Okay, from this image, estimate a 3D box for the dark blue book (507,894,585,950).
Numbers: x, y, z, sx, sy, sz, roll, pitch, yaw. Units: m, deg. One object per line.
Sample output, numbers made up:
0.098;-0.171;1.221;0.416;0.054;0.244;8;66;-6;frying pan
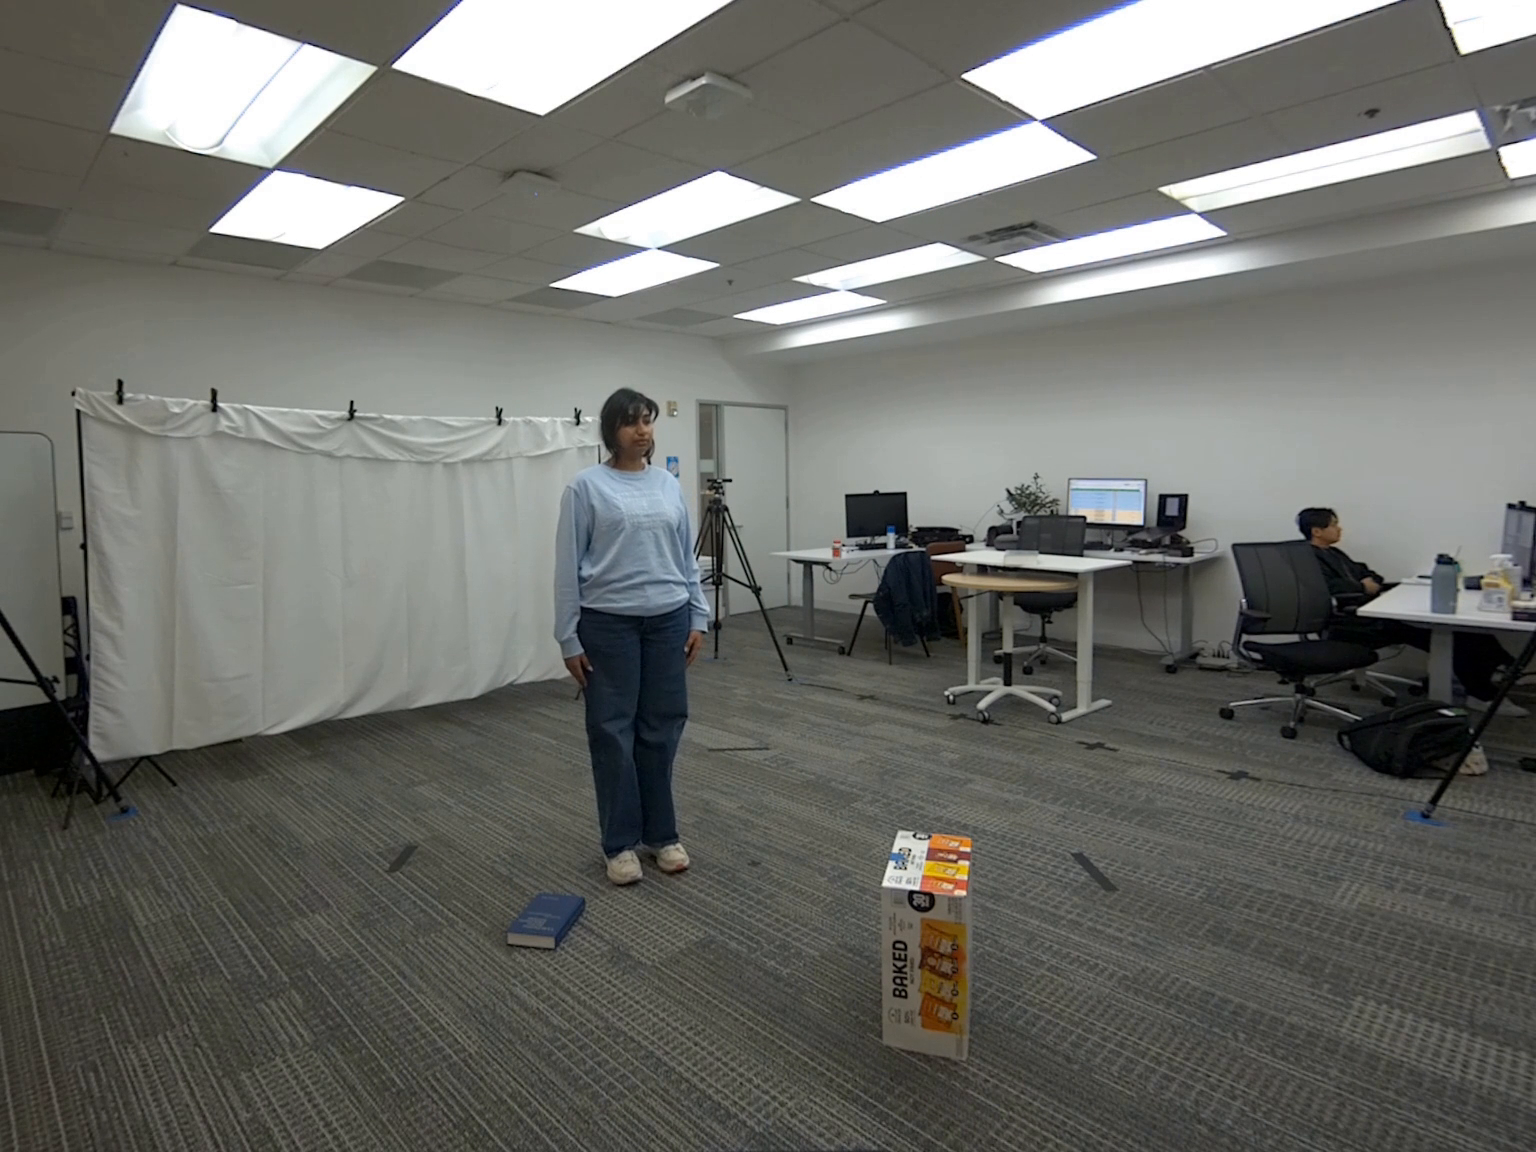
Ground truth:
-0.692;1.084;2.686;0.165;0.045;0.243;0;7;10;dark blue book
